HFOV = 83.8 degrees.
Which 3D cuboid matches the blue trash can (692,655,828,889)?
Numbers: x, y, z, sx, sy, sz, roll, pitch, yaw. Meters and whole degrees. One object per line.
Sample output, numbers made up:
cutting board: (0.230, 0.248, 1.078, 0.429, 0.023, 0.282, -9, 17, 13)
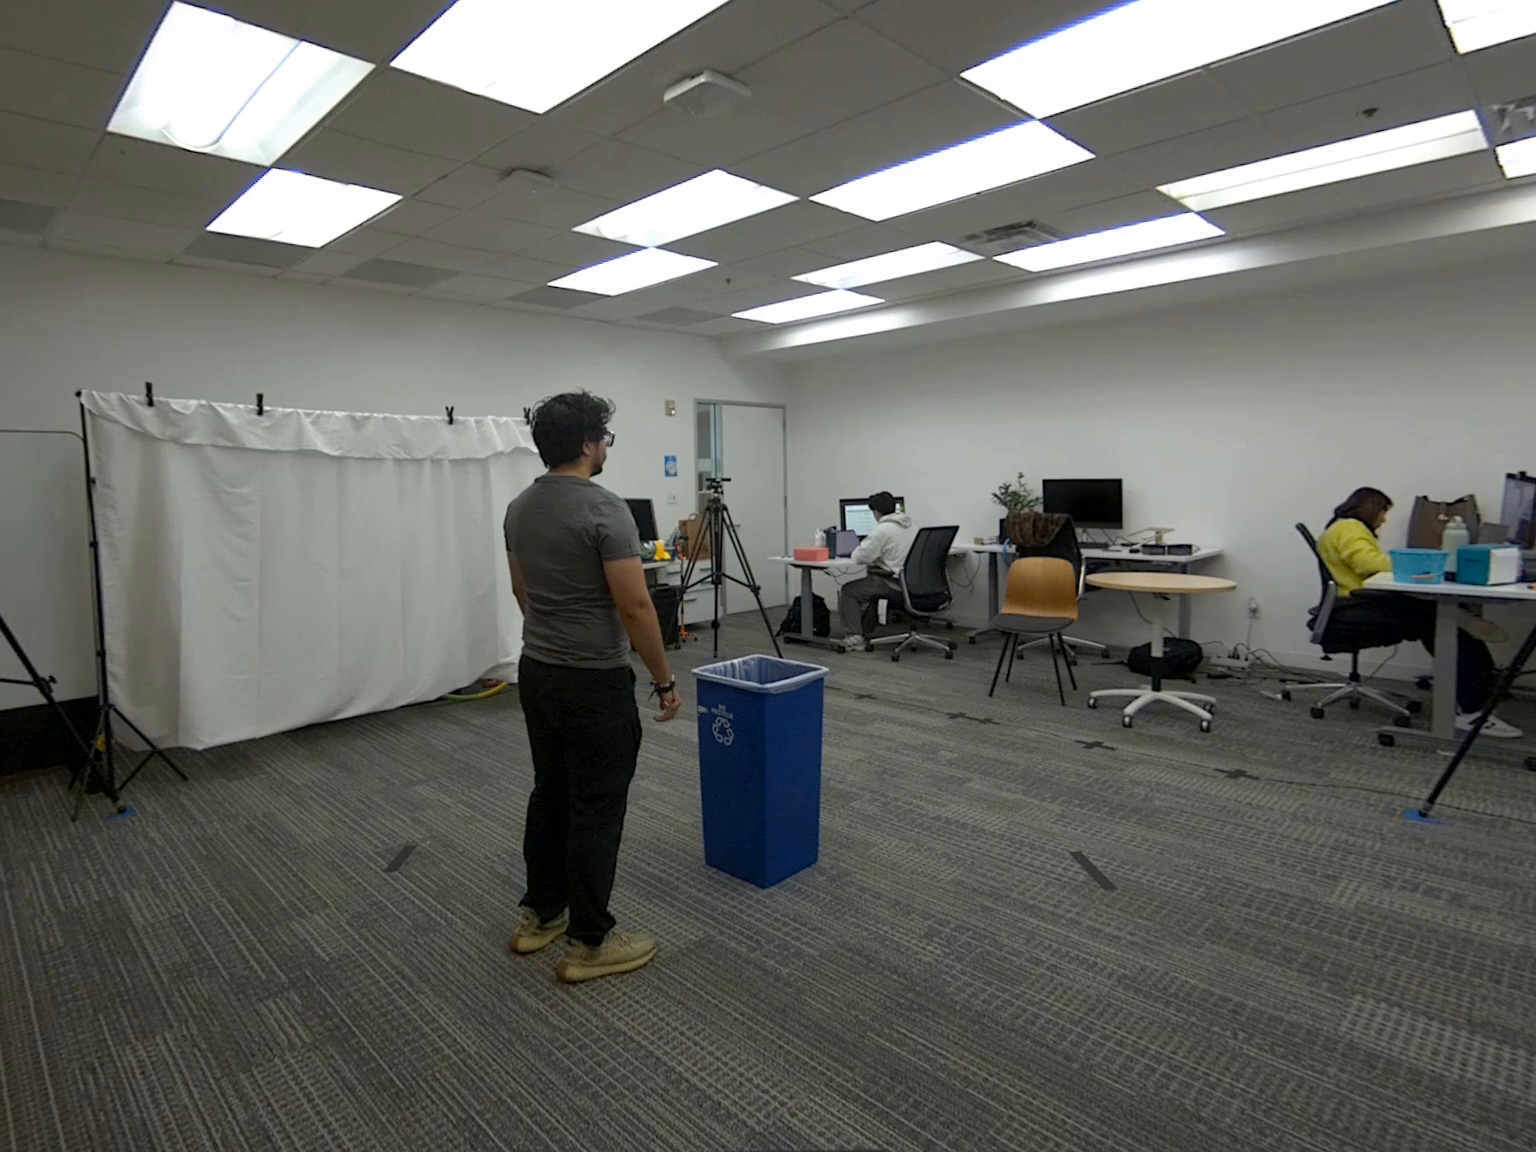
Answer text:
blue trash can: (-0.027, 0.687, 3.078, 0.390, 0.711, 0.364, 3, 5, 42)
